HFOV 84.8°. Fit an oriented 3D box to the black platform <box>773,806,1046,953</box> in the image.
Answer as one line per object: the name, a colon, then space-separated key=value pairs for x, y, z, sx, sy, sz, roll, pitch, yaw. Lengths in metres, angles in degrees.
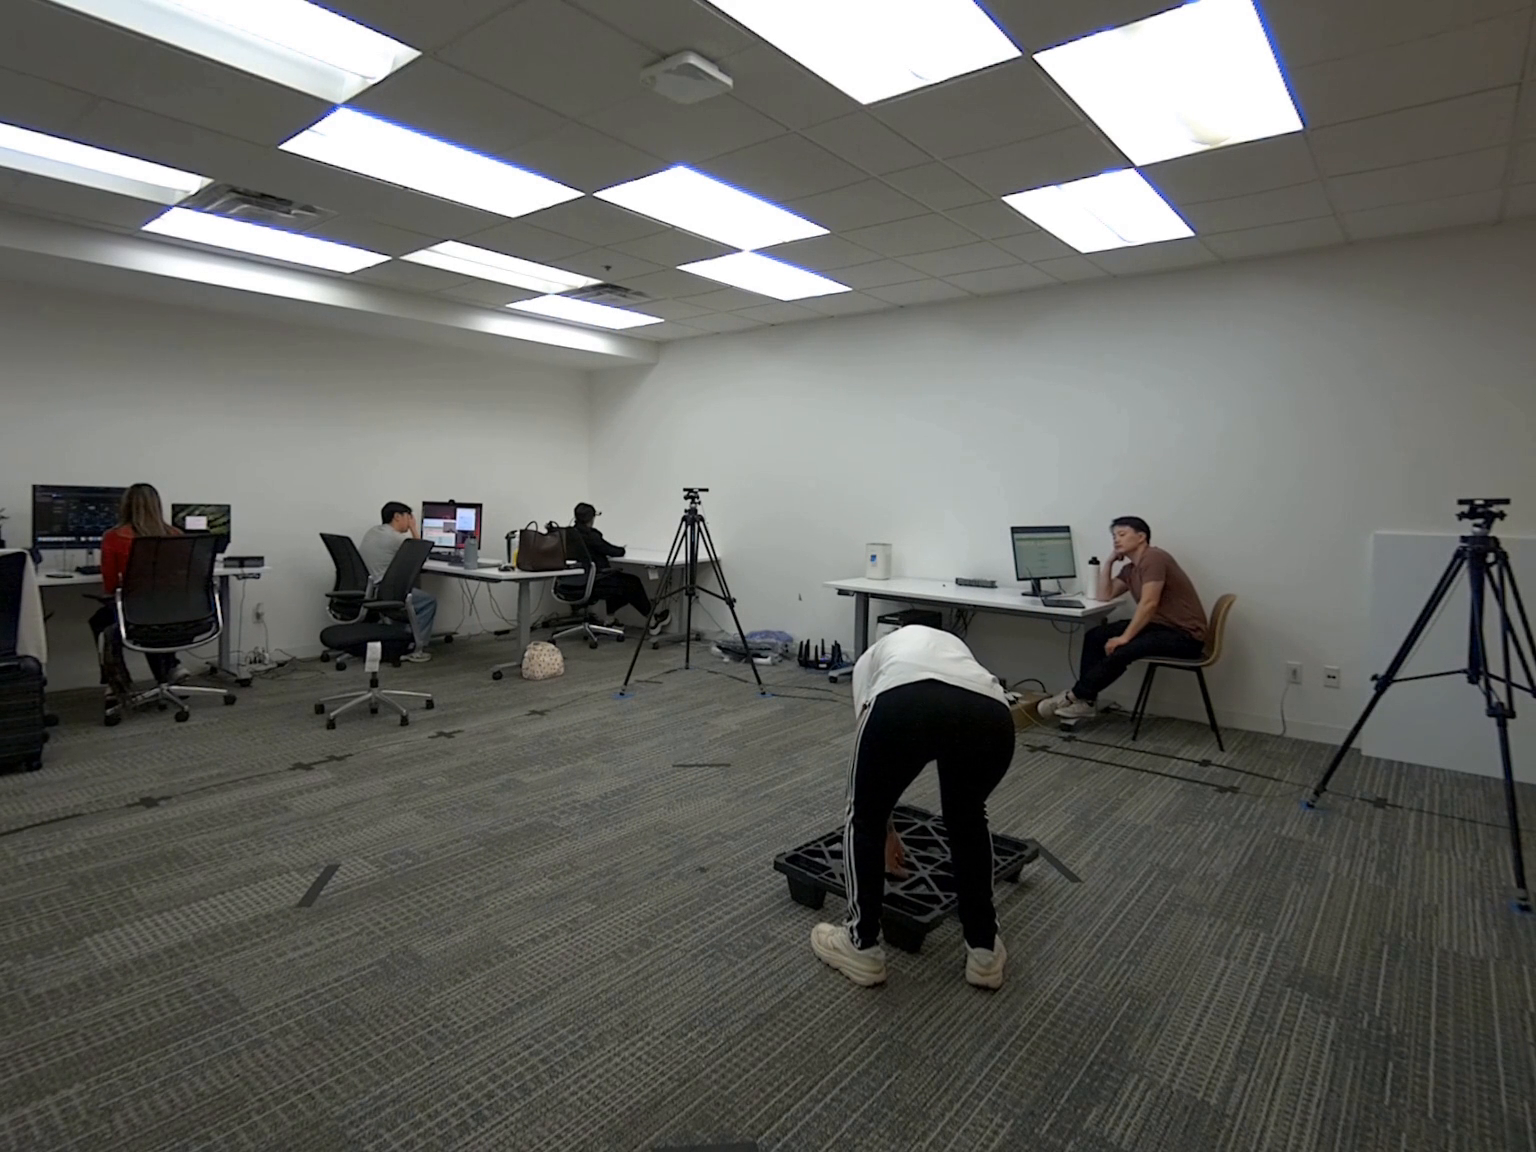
black platform: x=0.486 y=1.029 z=2.985 sx=0.626 sy=0.143 sz=0.781 roll=5 pitch=7 yaw=42
